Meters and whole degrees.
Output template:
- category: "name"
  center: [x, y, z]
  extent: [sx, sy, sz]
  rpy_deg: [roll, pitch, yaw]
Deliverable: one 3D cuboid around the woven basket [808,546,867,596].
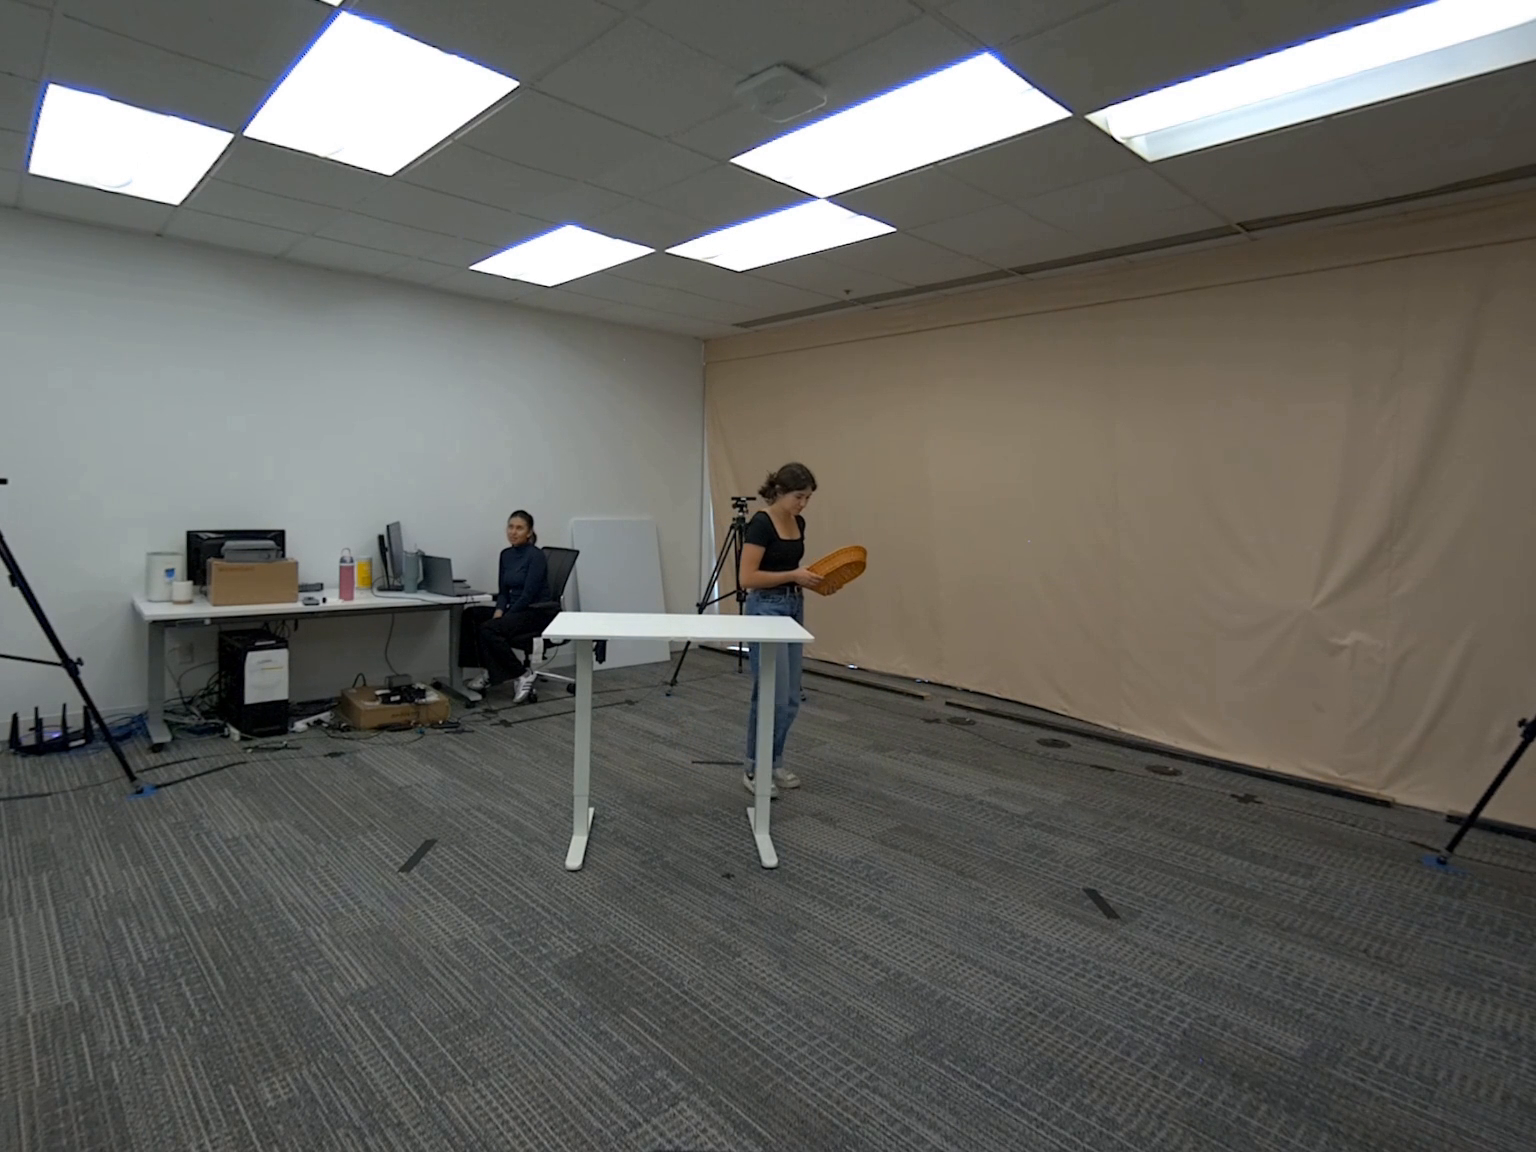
- category: "woven basket"
  center: [0.315, -0.020, 4.036]
  extent: [0.352, 0.075, 0.245]
  rpy_deg: [-31, -32, 12]
